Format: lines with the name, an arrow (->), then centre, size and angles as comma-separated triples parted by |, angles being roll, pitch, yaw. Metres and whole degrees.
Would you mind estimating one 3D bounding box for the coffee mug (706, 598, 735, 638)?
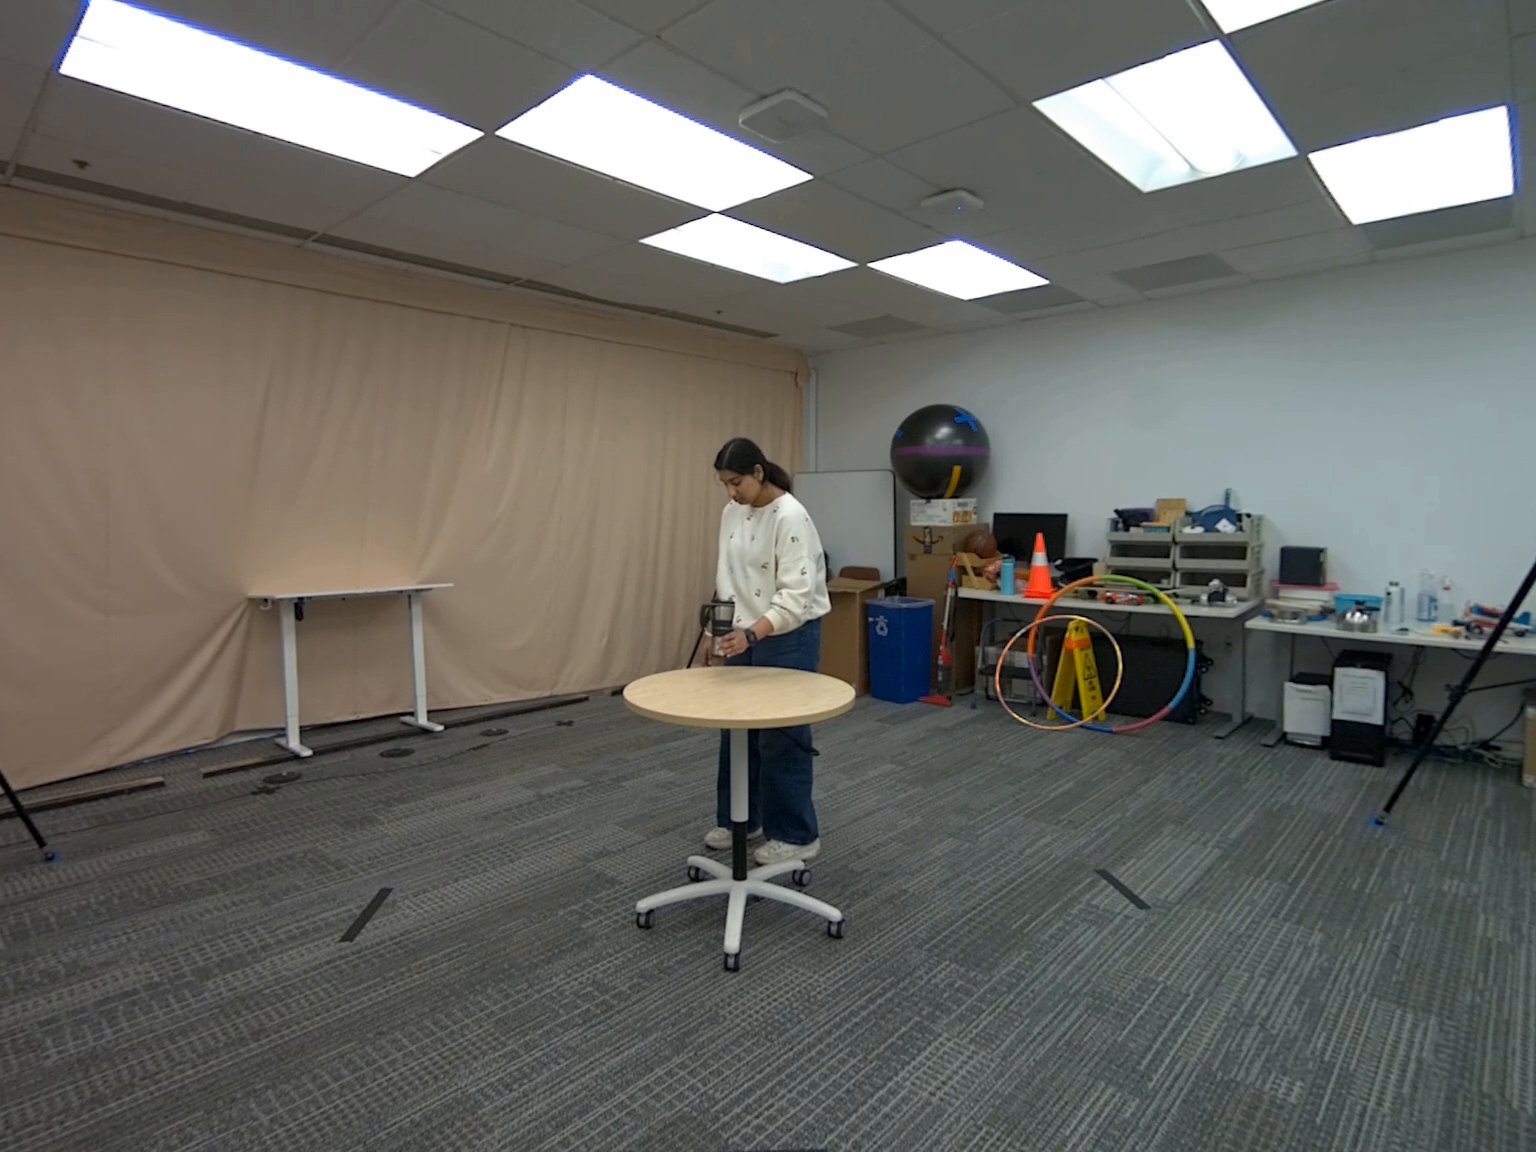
coffee mug -> -0.191, 0.178, 2.957 | 0.124, 0.202, 0.086 | 7, 3, 14
